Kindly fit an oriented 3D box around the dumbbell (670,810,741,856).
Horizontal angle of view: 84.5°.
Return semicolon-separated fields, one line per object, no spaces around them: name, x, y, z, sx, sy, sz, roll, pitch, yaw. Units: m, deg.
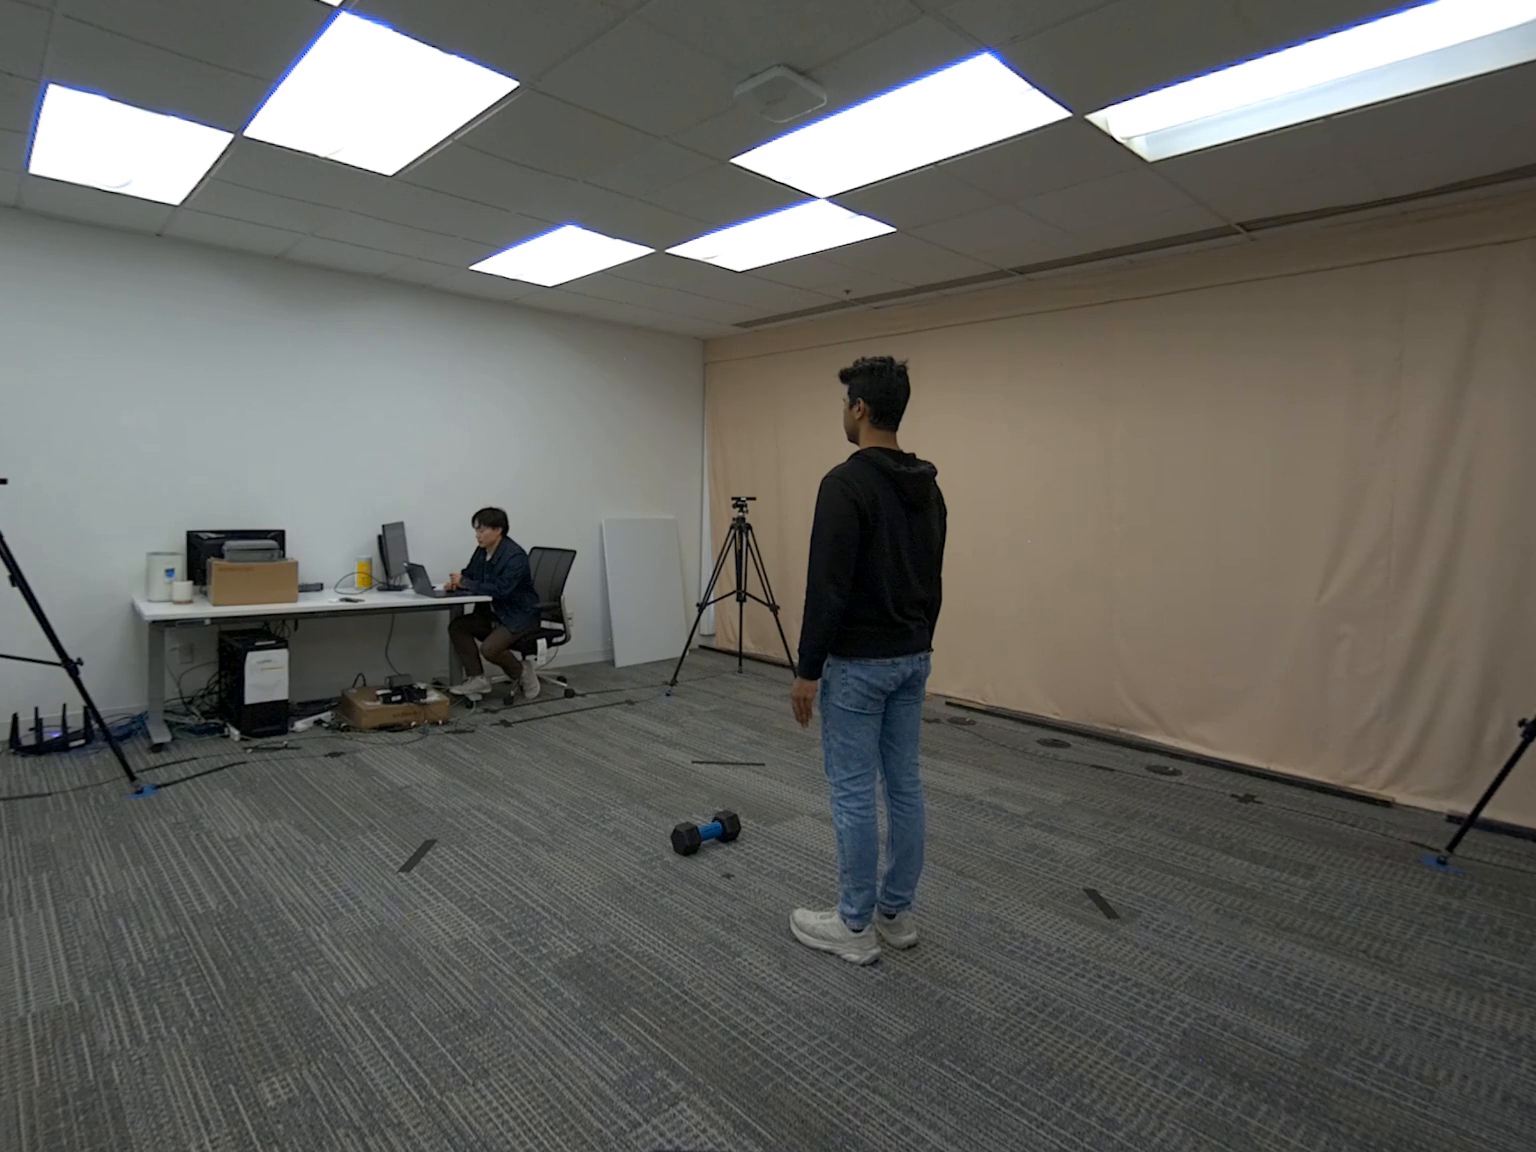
dumbbell;-0.255;1.027;3.368;0.287;0.122;0.112;-4;34;-44
